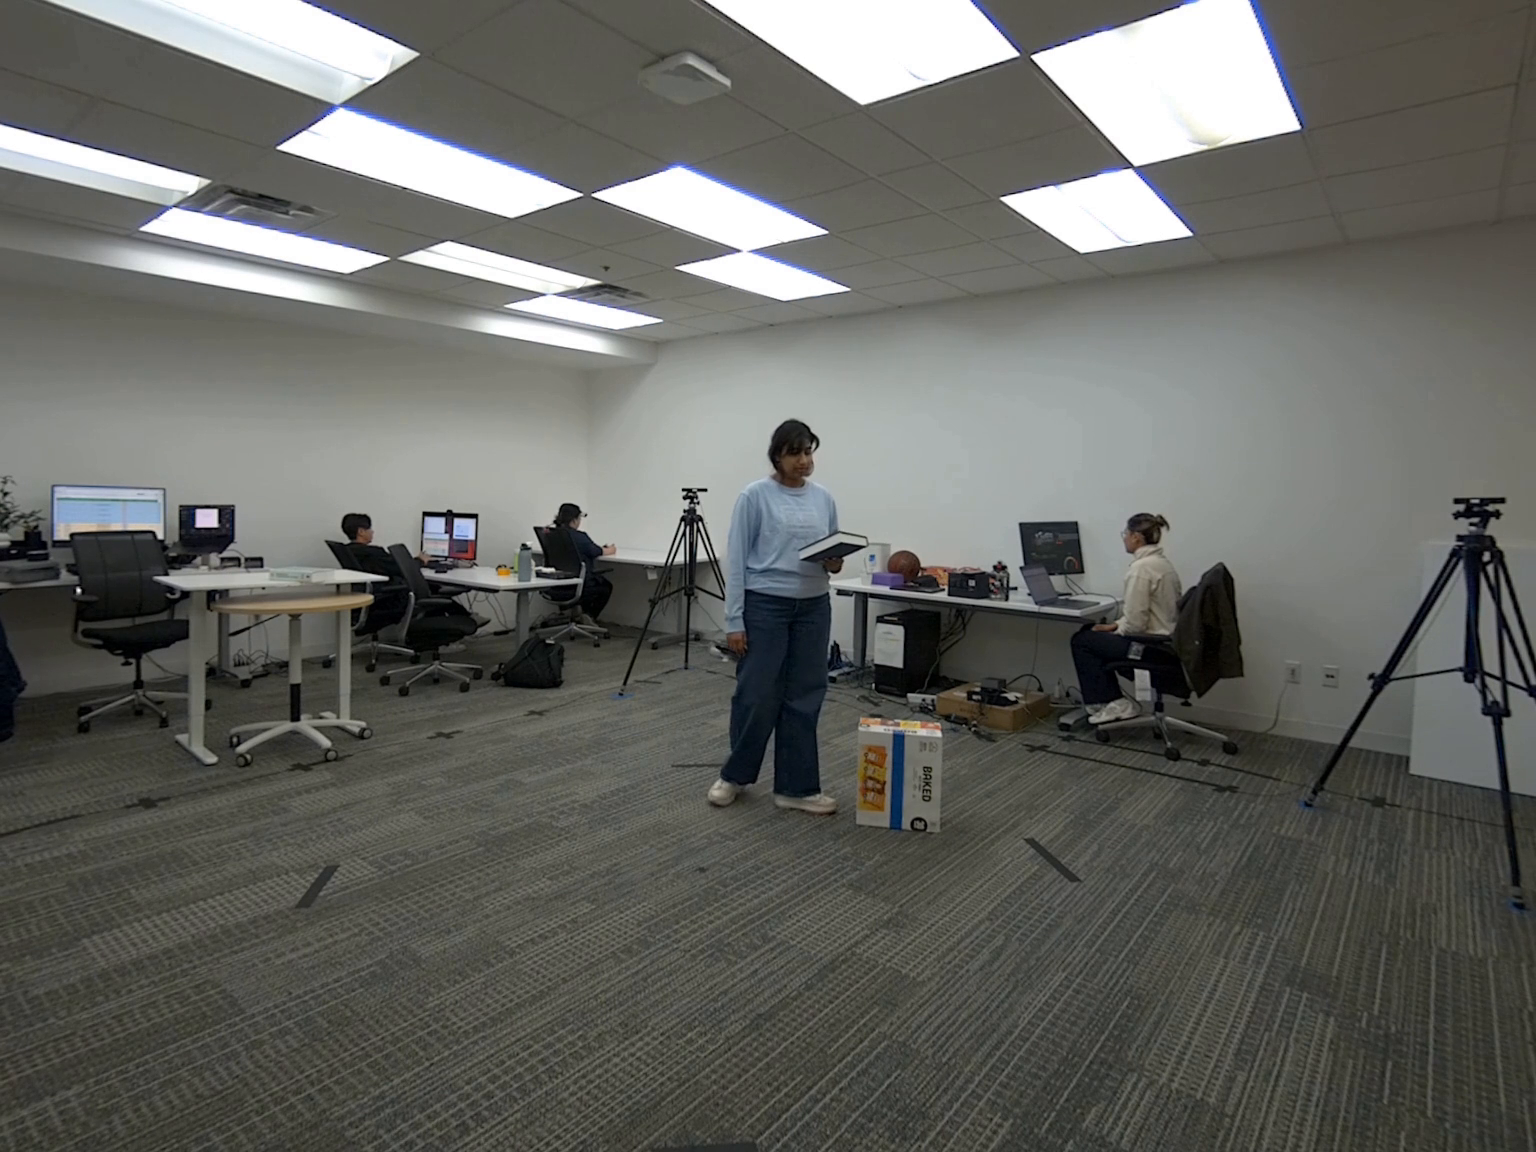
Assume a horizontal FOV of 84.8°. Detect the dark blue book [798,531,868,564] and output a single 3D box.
[{"bbox_3d":[0.248,-0.119,3.478,0.158,0.046,0.249,6,-20,-40],"label":"dark blue book"}]
